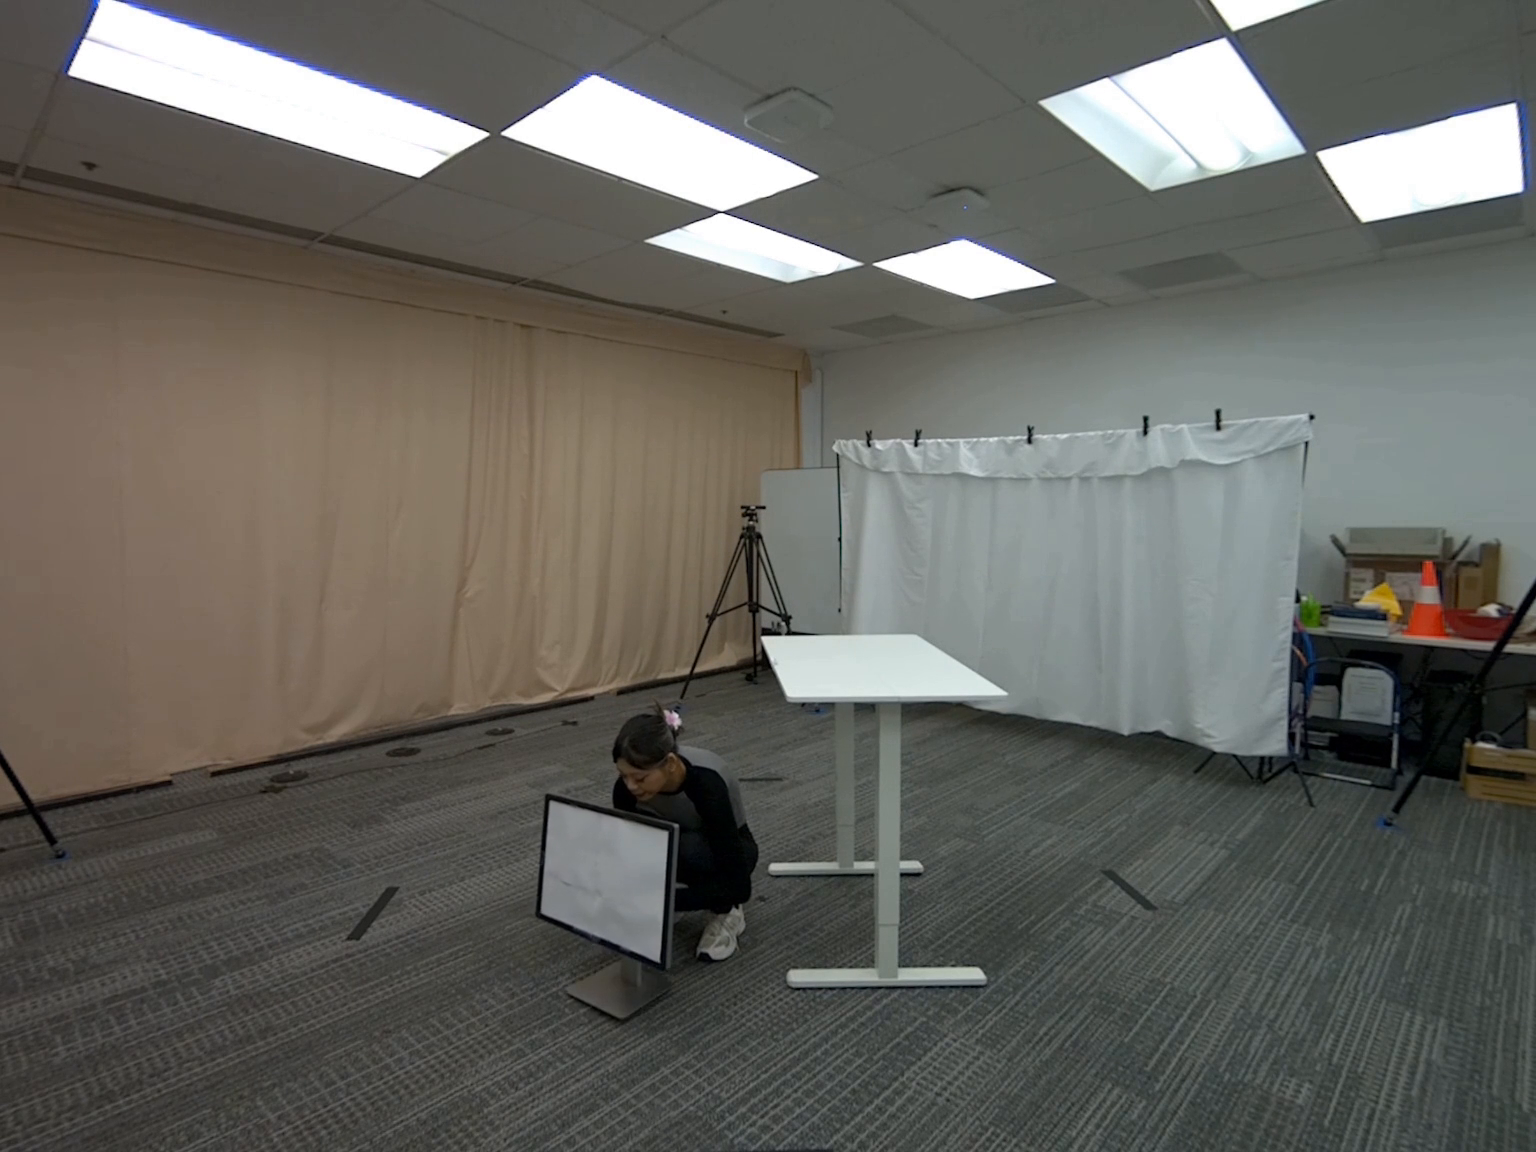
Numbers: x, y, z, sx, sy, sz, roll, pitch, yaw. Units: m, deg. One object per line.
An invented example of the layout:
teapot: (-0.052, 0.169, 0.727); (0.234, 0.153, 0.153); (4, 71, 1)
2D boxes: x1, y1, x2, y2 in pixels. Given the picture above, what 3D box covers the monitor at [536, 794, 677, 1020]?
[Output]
monitor: (-0.433, 0.921, 2.401); (0.556, 0.522, 0.181); (-1, 3, 39)
